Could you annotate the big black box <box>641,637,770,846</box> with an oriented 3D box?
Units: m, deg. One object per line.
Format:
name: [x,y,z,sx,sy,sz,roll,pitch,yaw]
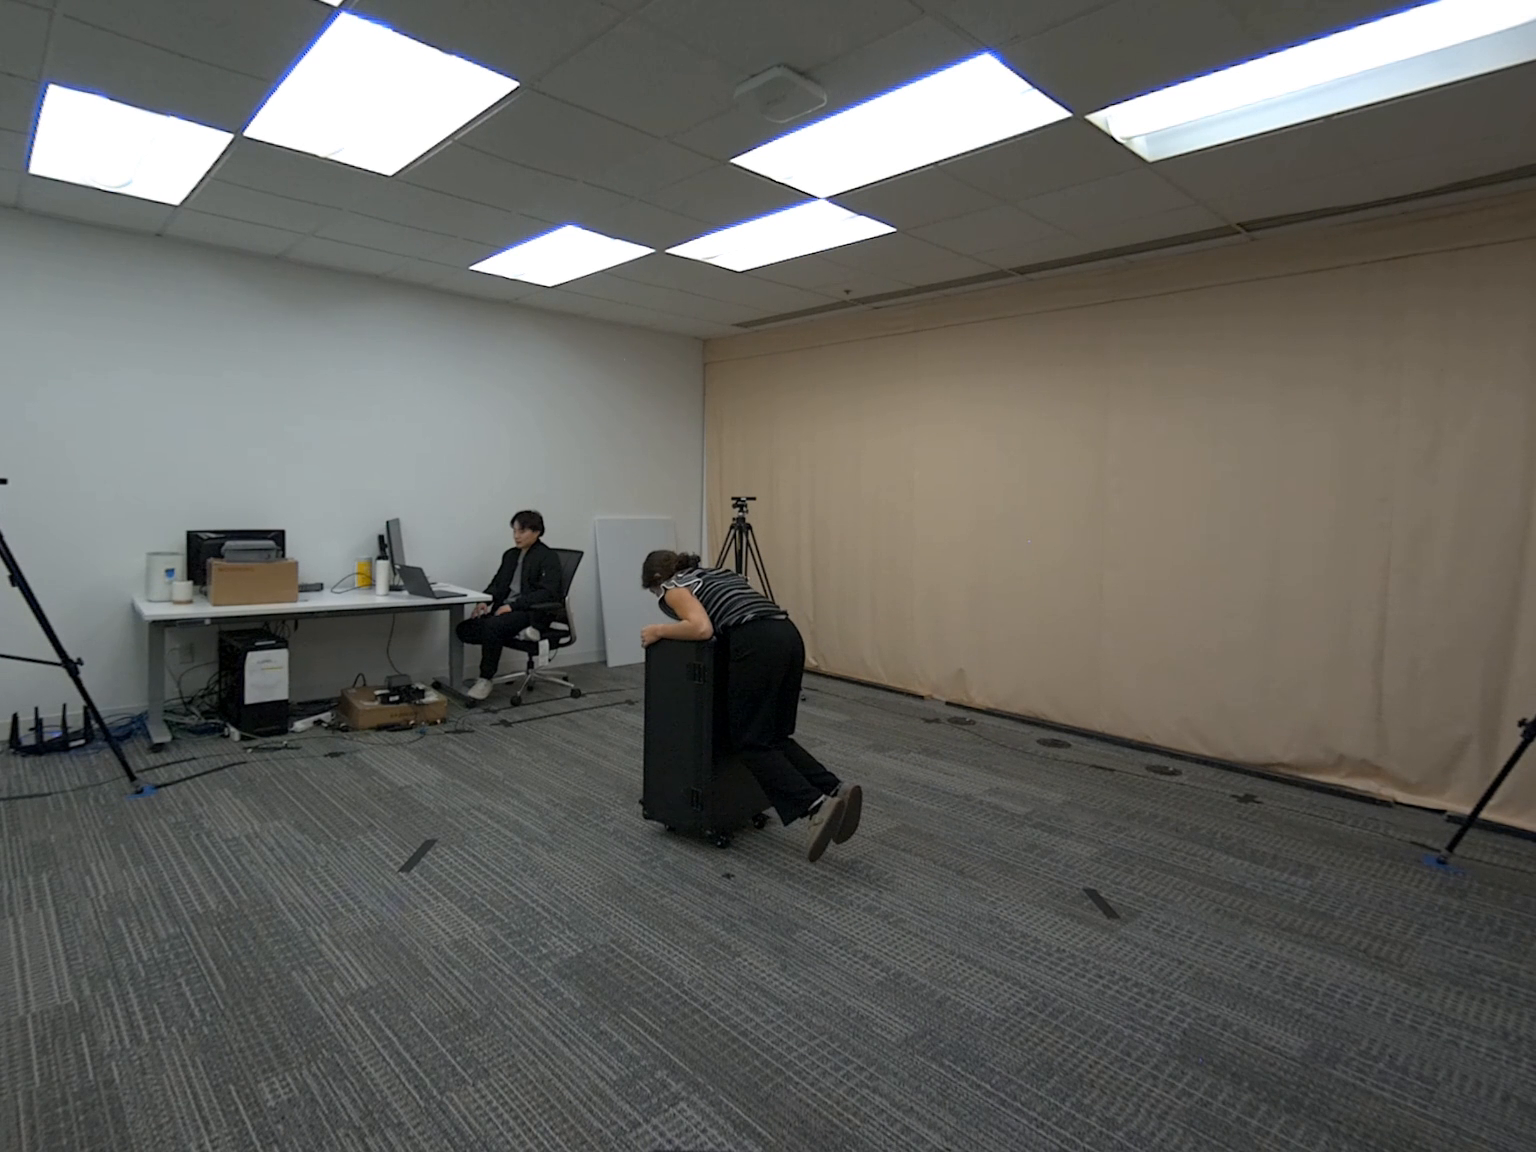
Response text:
big black box: [-0.249,0.657,3.546,0.405,0.860,0.510,3,3,34]
